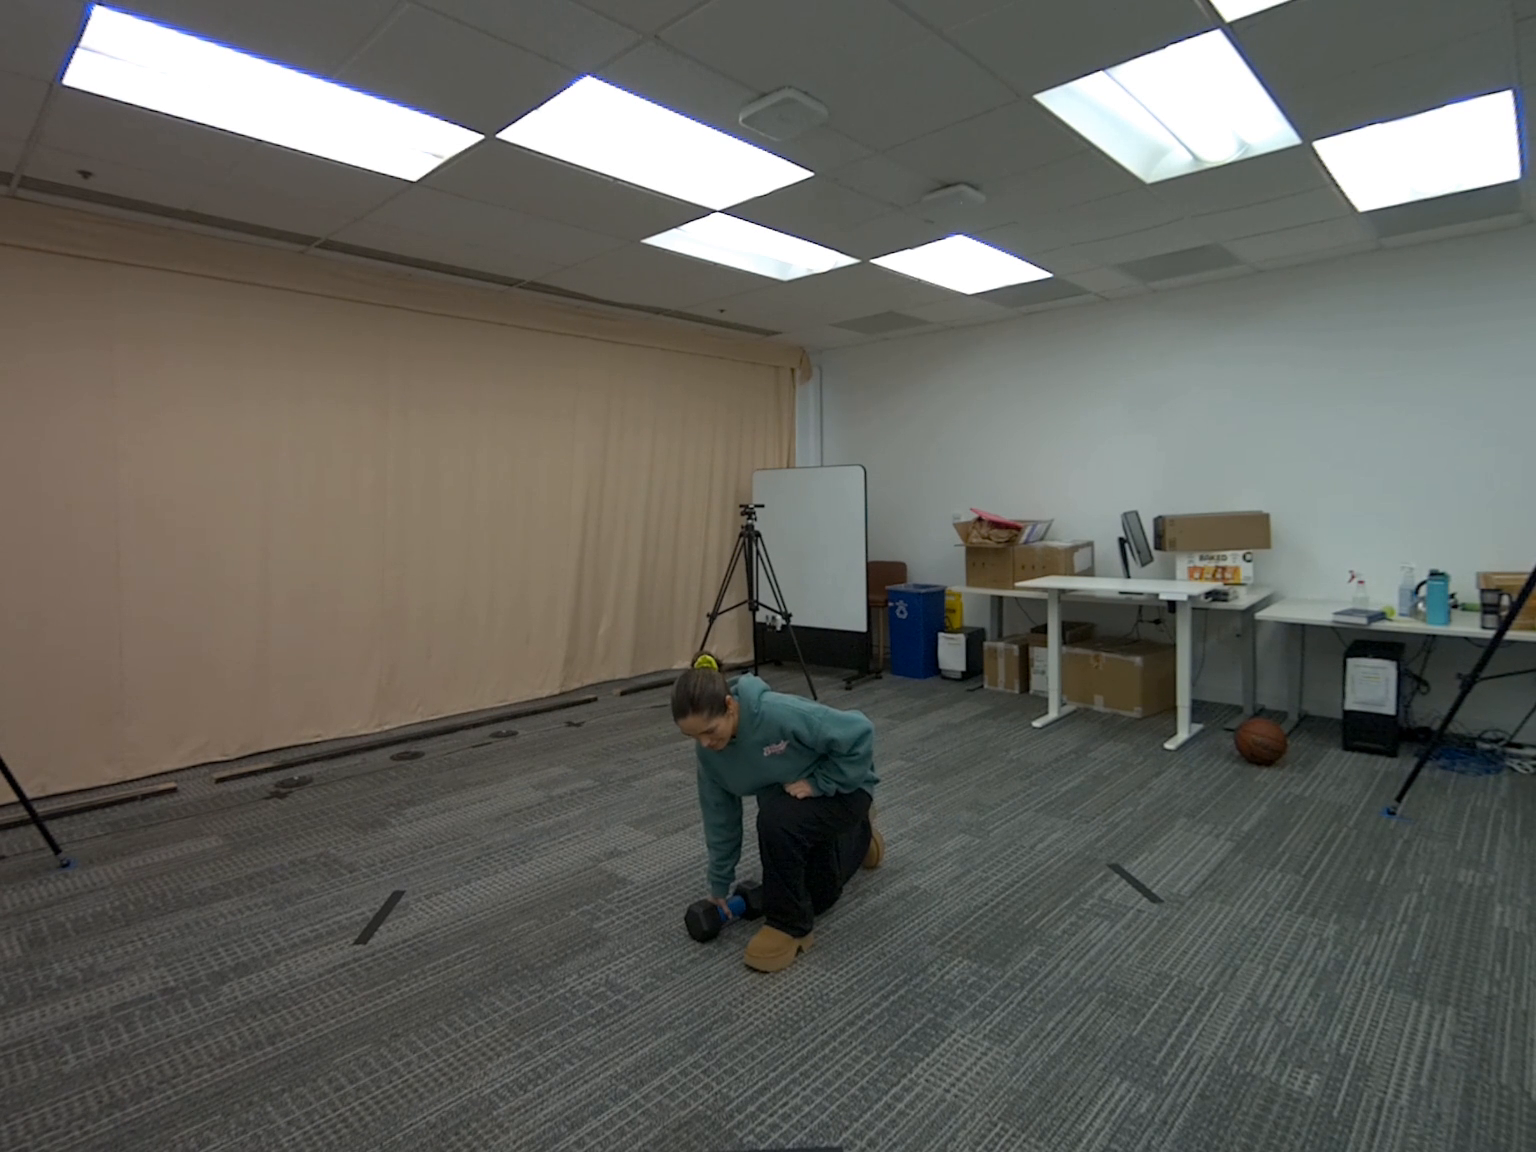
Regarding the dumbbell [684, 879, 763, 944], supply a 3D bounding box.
[{"bbox_3d":[-0.131,1.105,2.784,0.284,0.125,0.110,-4,-26,-42],"label":"dumbbell"}]
